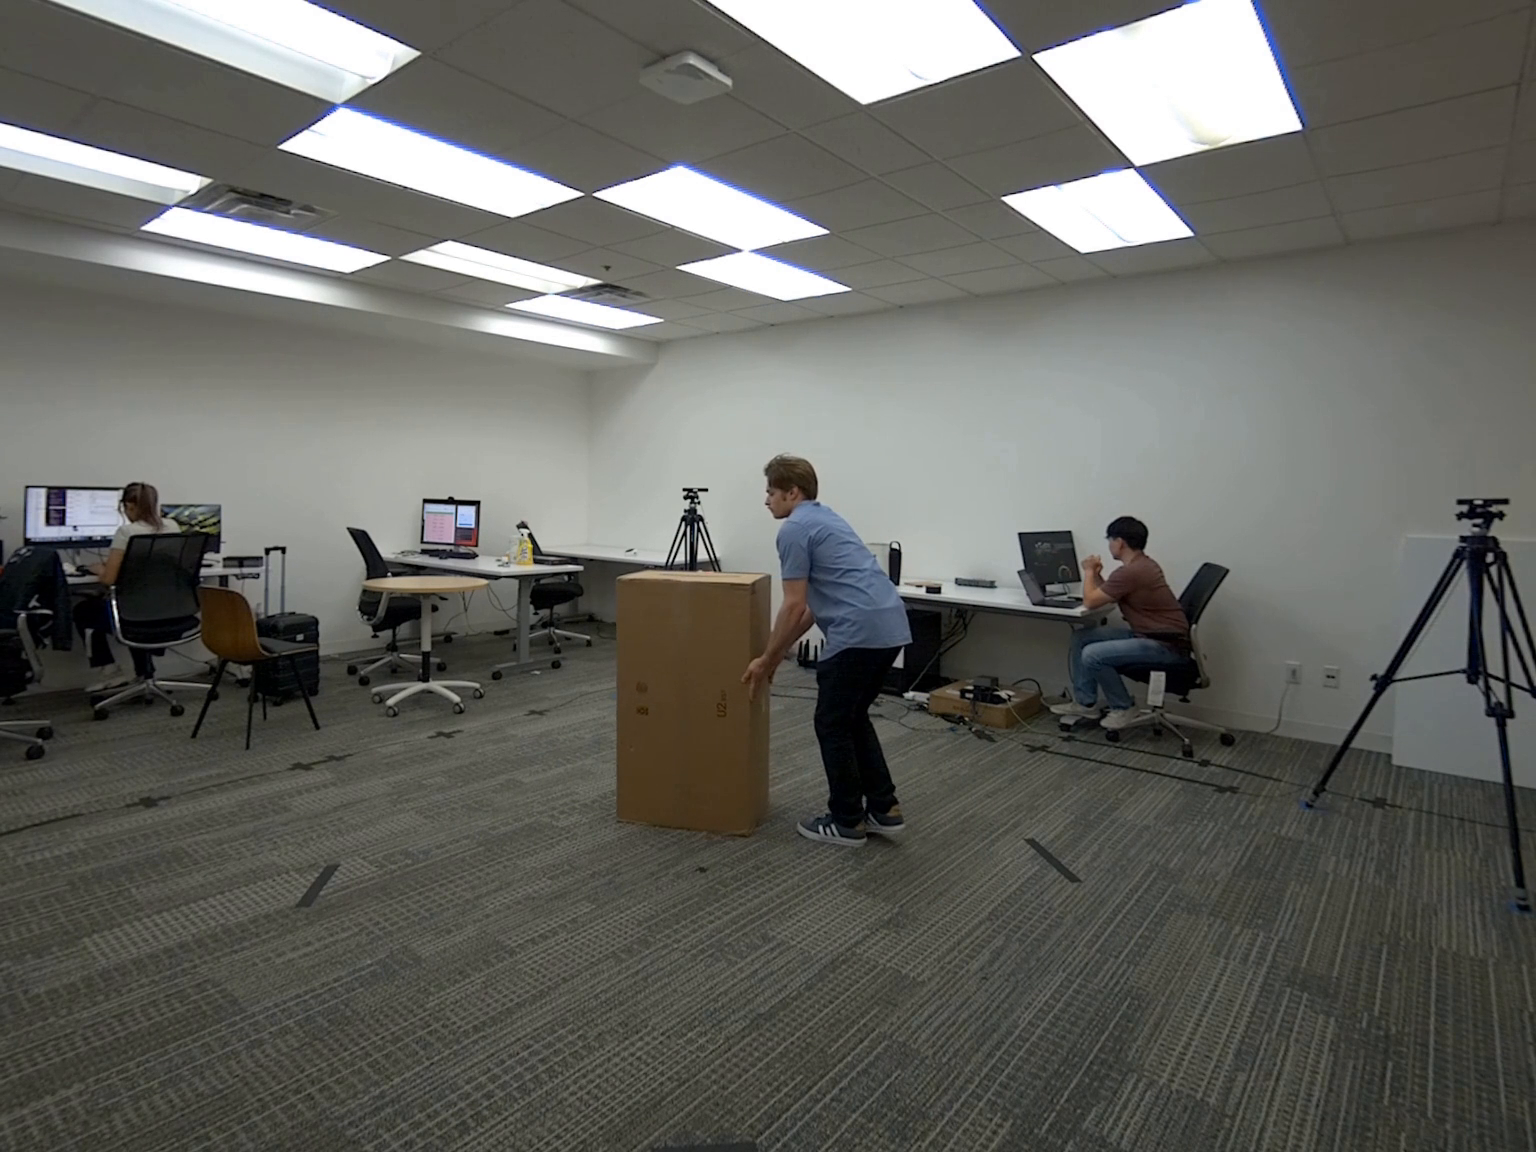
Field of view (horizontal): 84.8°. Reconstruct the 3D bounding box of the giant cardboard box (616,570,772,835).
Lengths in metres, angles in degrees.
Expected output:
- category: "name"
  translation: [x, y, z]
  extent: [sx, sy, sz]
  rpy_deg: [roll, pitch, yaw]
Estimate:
- category: "giant cardboard box"
  translation: [-0.317, 0.507, 3.661]
  extent: [0.587, 1.023, 0.420]
  rpy_deg: [1, 3, 15]
